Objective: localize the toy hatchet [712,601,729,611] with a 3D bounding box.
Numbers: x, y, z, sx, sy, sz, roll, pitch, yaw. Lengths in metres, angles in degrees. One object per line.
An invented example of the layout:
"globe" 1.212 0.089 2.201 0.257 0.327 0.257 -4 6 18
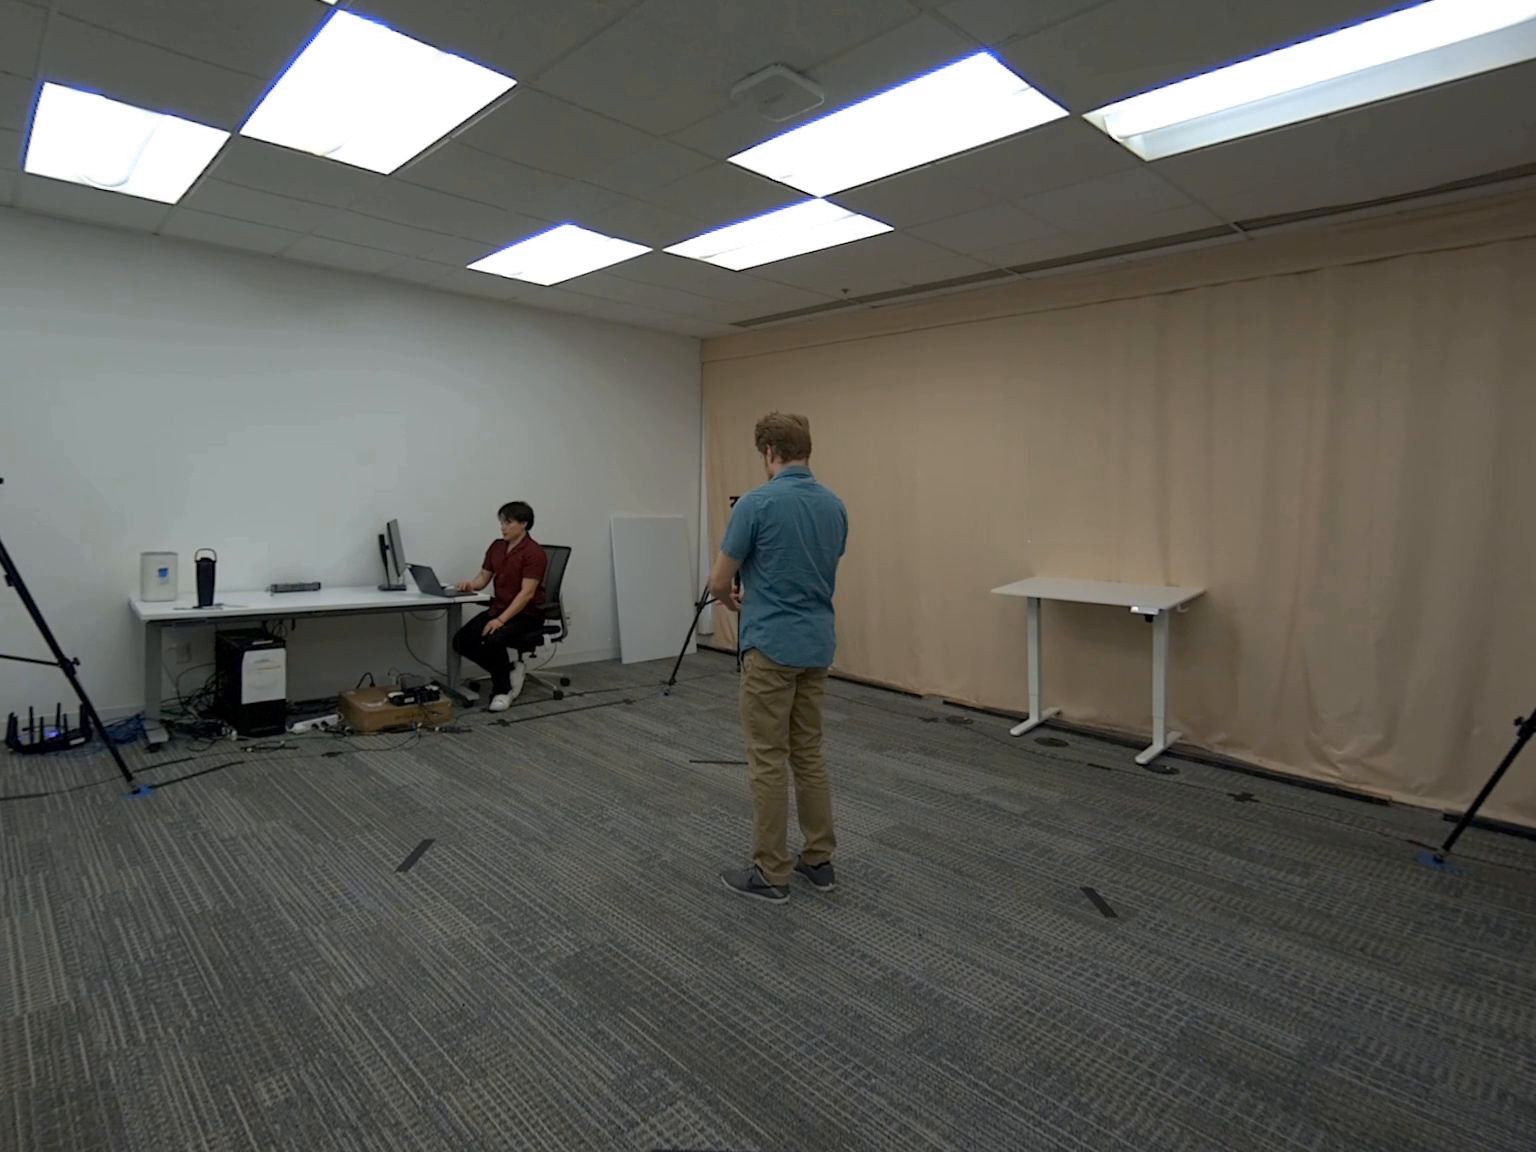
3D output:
"toy hatchet" -0.132 0.103 3.346 0.130 0.029 0.272 -16 1 -14
